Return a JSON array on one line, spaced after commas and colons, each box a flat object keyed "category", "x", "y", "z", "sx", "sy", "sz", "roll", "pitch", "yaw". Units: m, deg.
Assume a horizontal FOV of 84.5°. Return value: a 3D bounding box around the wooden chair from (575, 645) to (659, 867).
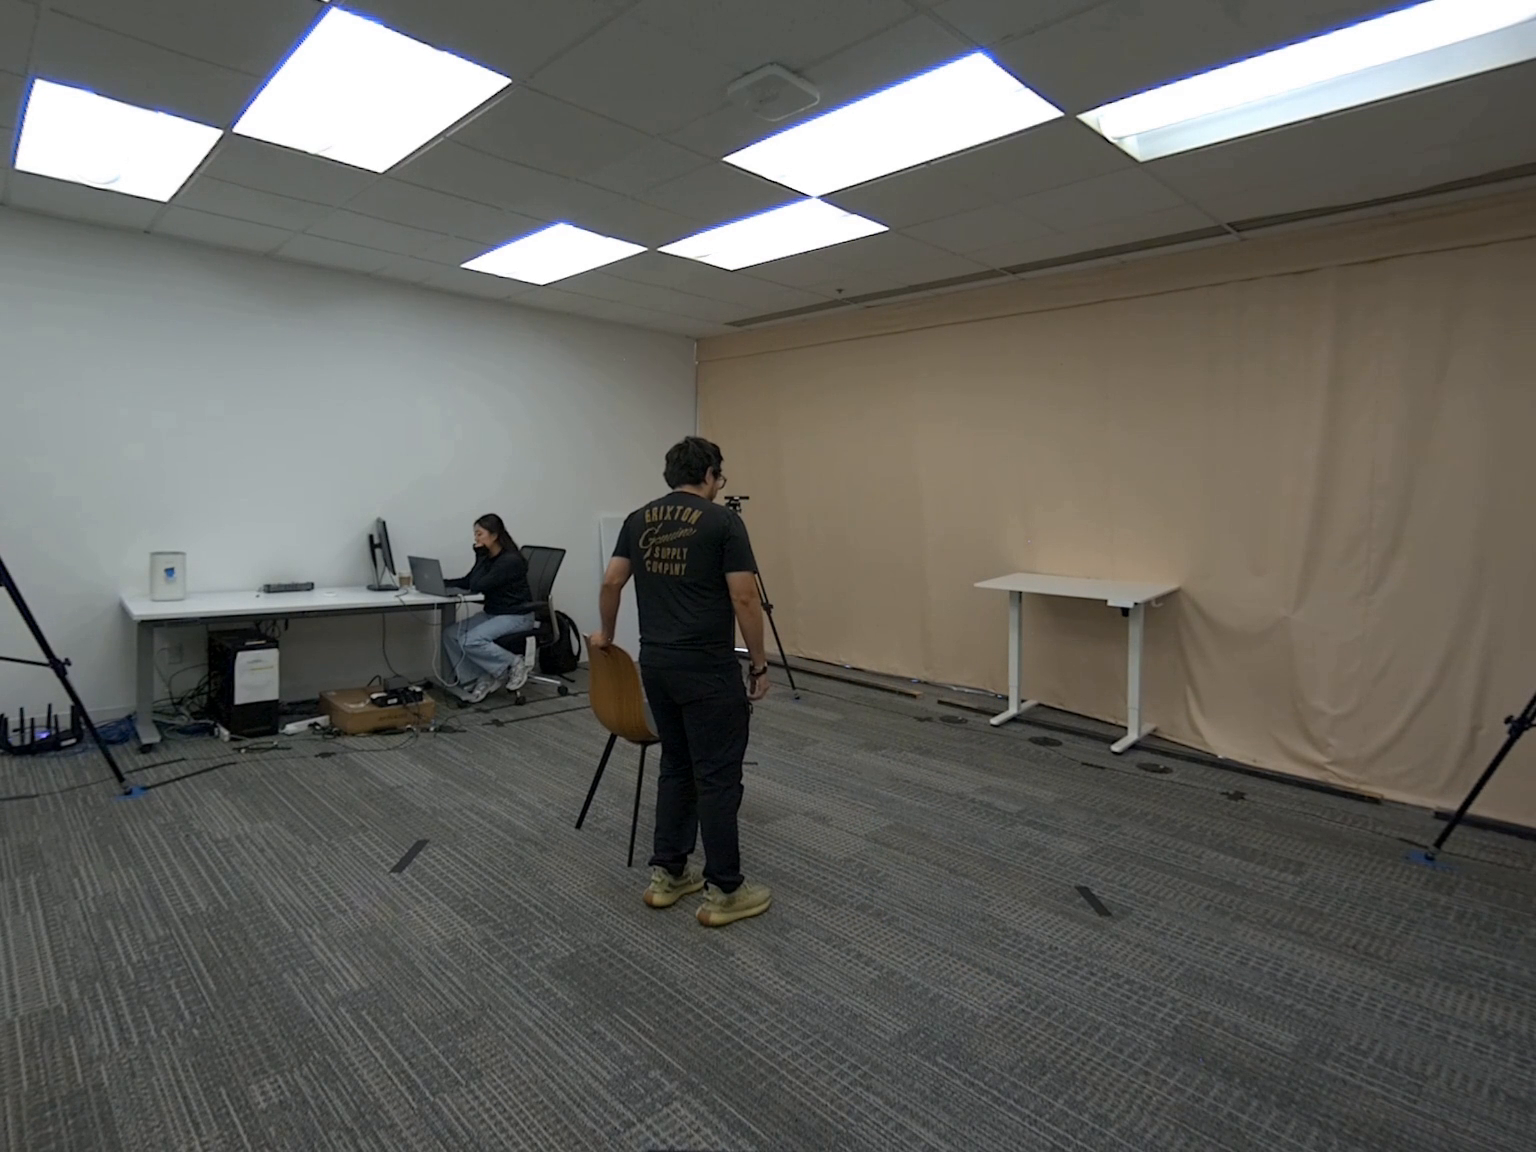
[{"category": "wooden chair", "x": -0.475, "y": 0.640, "z": 3.438, "sx": 0.512, "sy": 0.873, "sz": 0.490, "roll": -7, "pitch": 8, "yaw": -38}]
